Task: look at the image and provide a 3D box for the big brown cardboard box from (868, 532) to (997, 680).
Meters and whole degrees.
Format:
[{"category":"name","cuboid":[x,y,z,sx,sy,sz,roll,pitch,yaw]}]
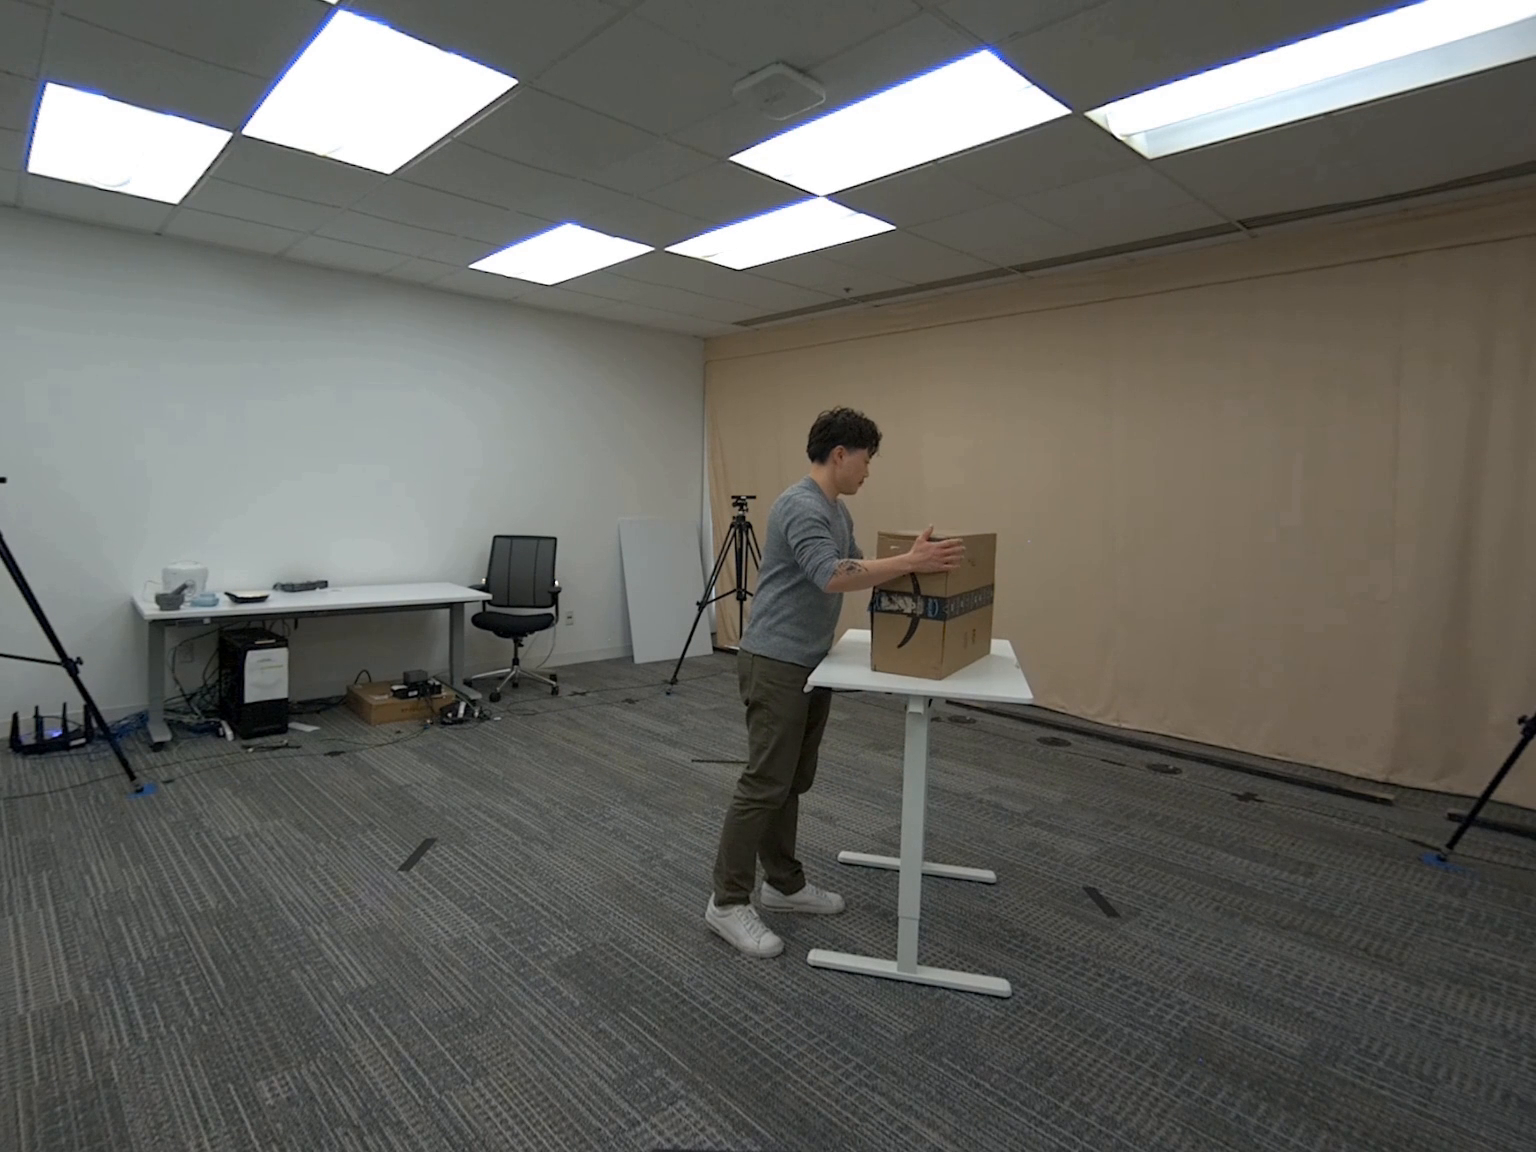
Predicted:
[{"category":"big brown cardboard box","cuboid":[0.533,0.070,2.673,0.238,0.416,0.577,5,5,30]}]
